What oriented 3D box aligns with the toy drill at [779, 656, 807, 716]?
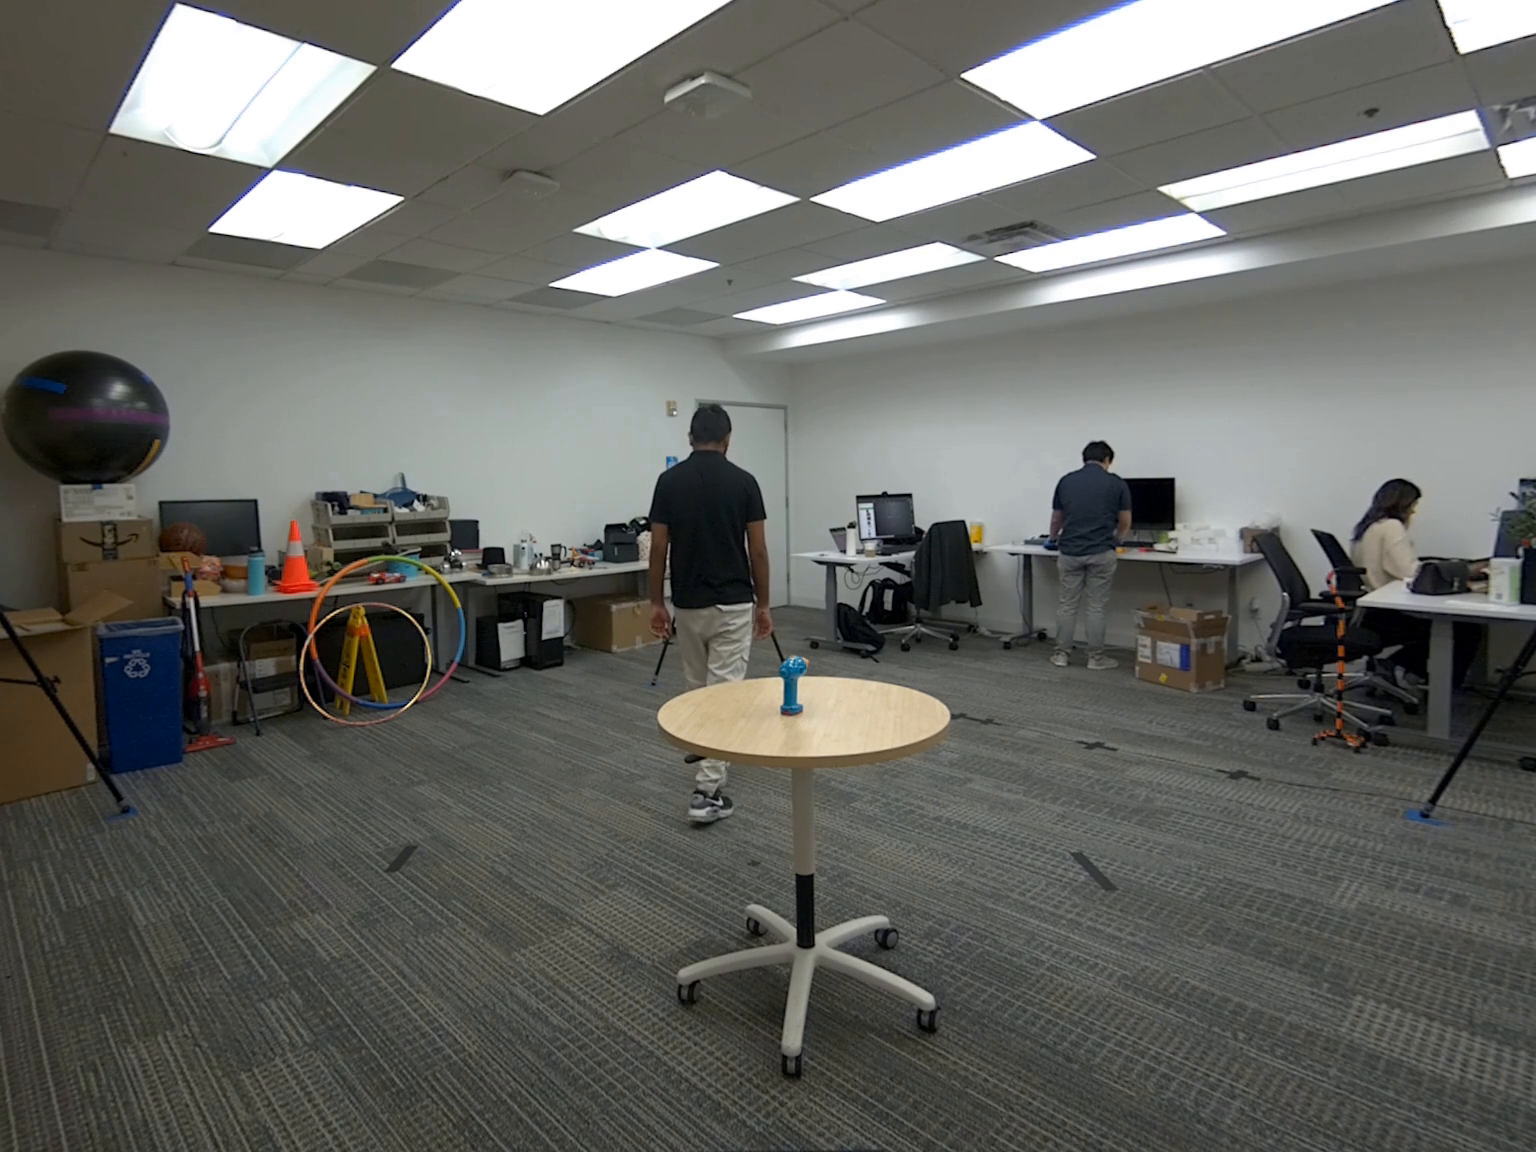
[{"bbox_3d":[0.079,0.285,2.277,0.062,0.145,0.167,0,4,17],"label":"toy drill"}]
